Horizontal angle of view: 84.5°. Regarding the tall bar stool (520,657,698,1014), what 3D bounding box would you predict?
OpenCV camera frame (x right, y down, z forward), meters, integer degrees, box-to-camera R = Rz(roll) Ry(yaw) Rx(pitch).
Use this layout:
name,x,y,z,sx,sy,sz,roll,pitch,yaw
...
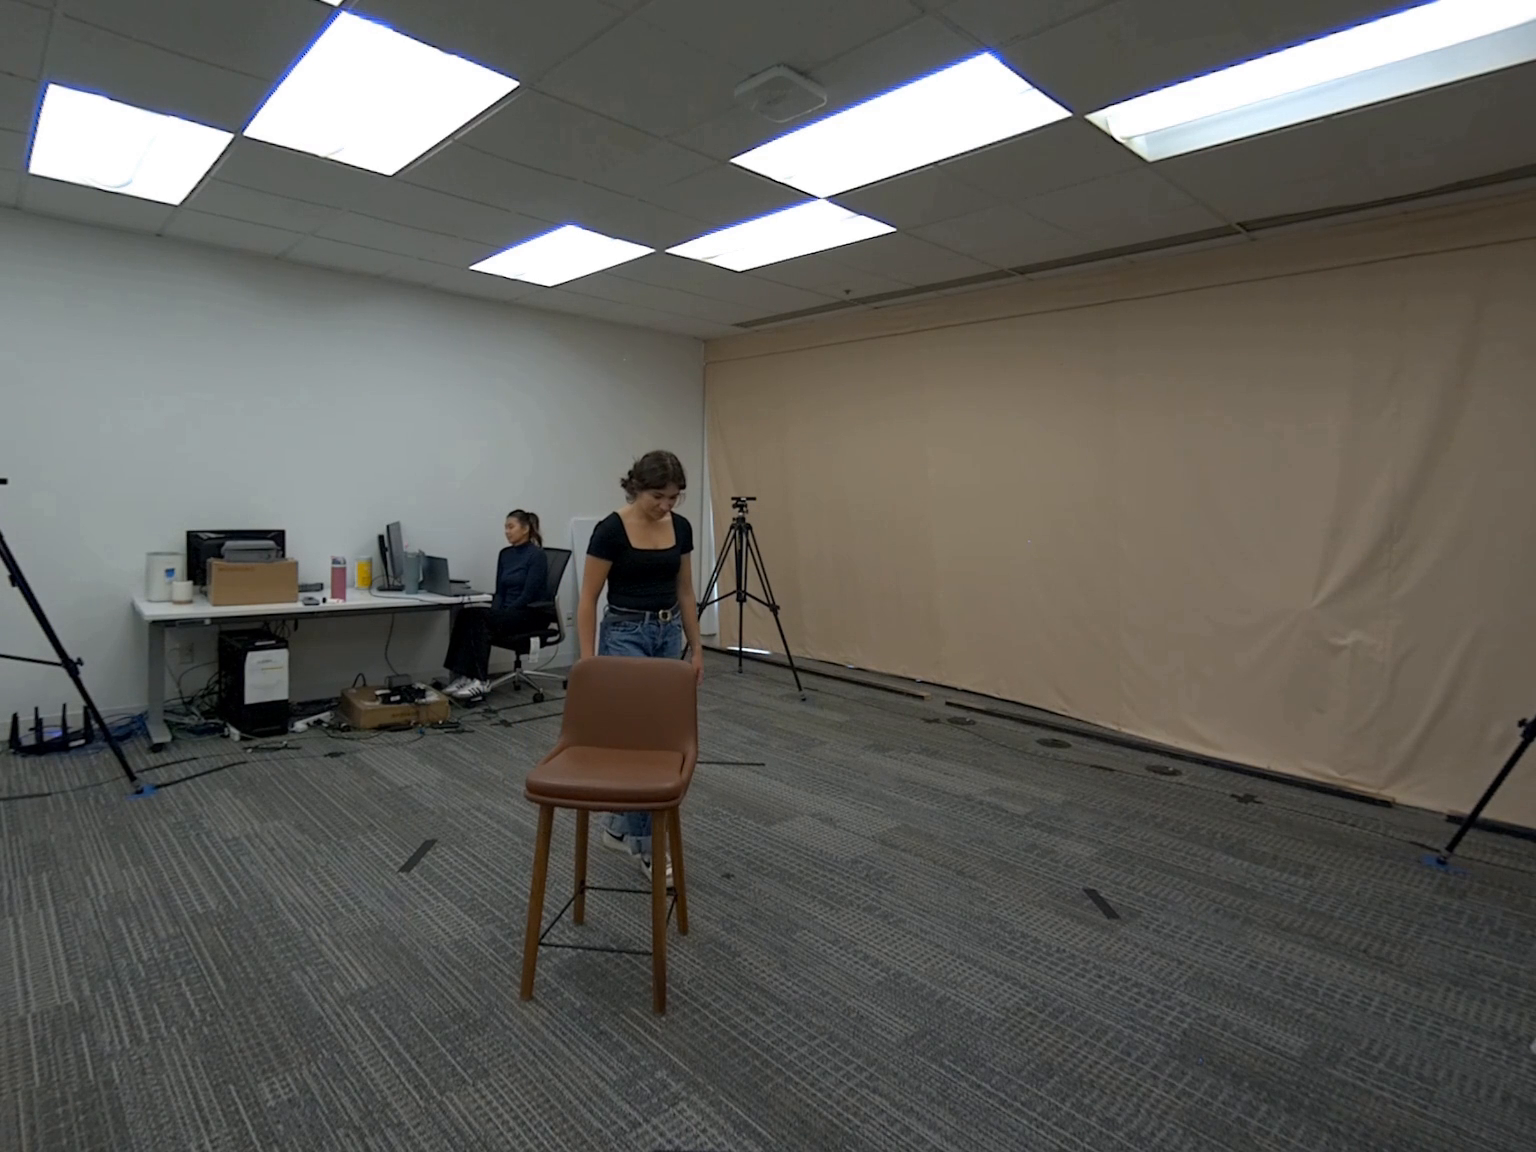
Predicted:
name,x,y,z,sx,sy,sz,roll,pitch,yaw
tall bar stool,-0.458,0.721,2.486,0.459,0.889,0.465,1,1,7
